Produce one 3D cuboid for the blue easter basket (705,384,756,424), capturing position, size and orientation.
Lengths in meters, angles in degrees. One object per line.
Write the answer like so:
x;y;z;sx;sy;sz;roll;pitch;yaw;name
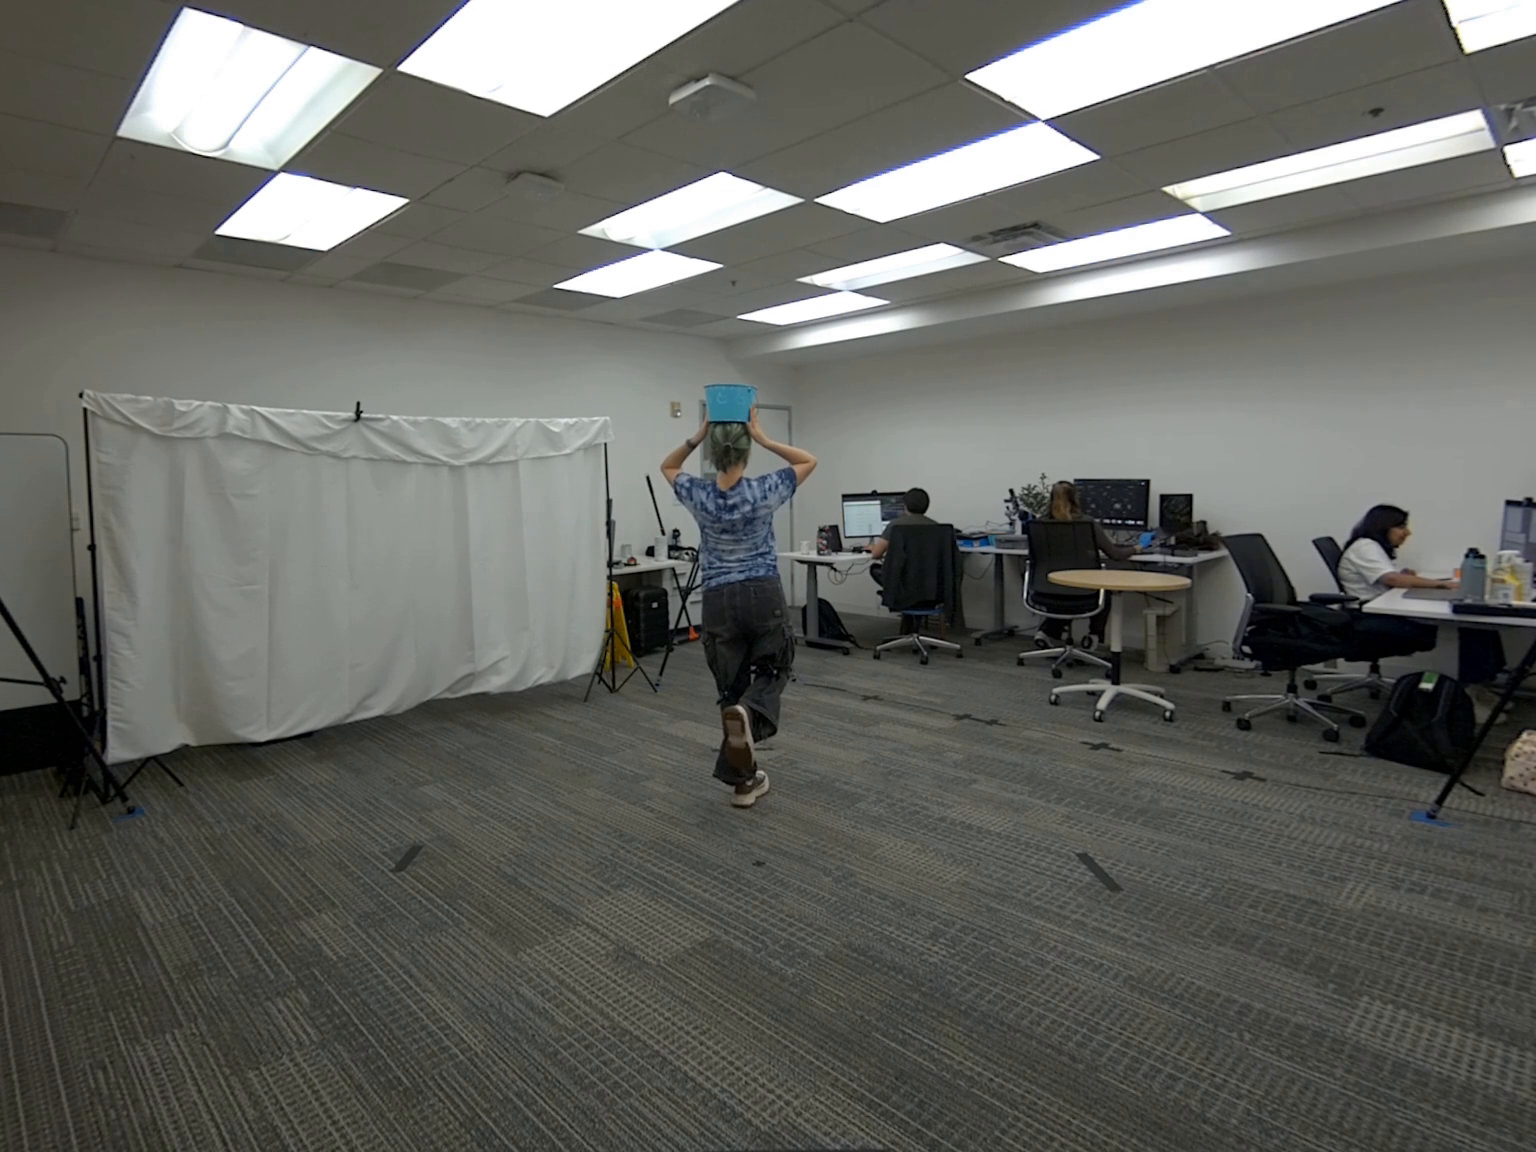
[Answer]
-0.168;-0.737;3.695;0.243;0.156;0.244;2;2;-2;blue easter basket
